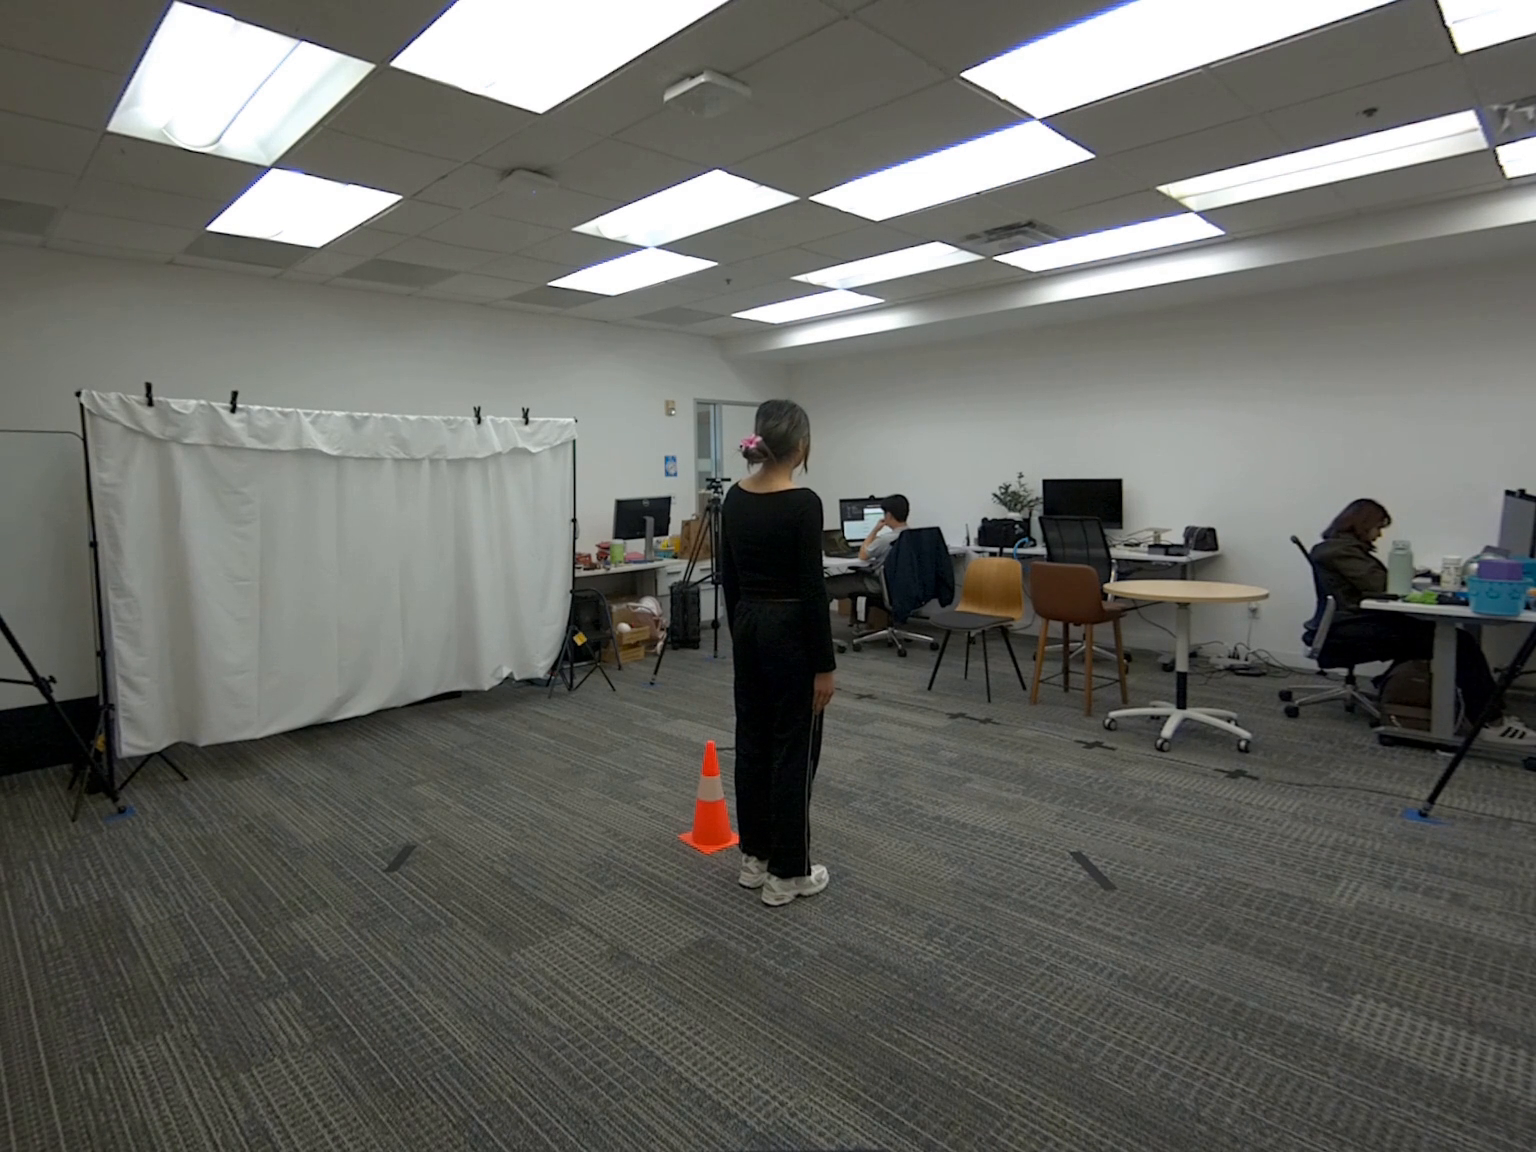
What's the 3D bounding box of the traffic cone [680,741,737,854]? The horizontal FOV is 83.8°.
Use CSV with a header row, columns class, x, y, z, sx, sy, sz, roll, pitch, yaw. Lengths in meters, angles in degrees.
class,x,y,z,sx,sy,sz,roll,pitch,yaw
traffic cone,-0.215,0.838,3.314,0.200,0.382,0.209,-2,4,-35
